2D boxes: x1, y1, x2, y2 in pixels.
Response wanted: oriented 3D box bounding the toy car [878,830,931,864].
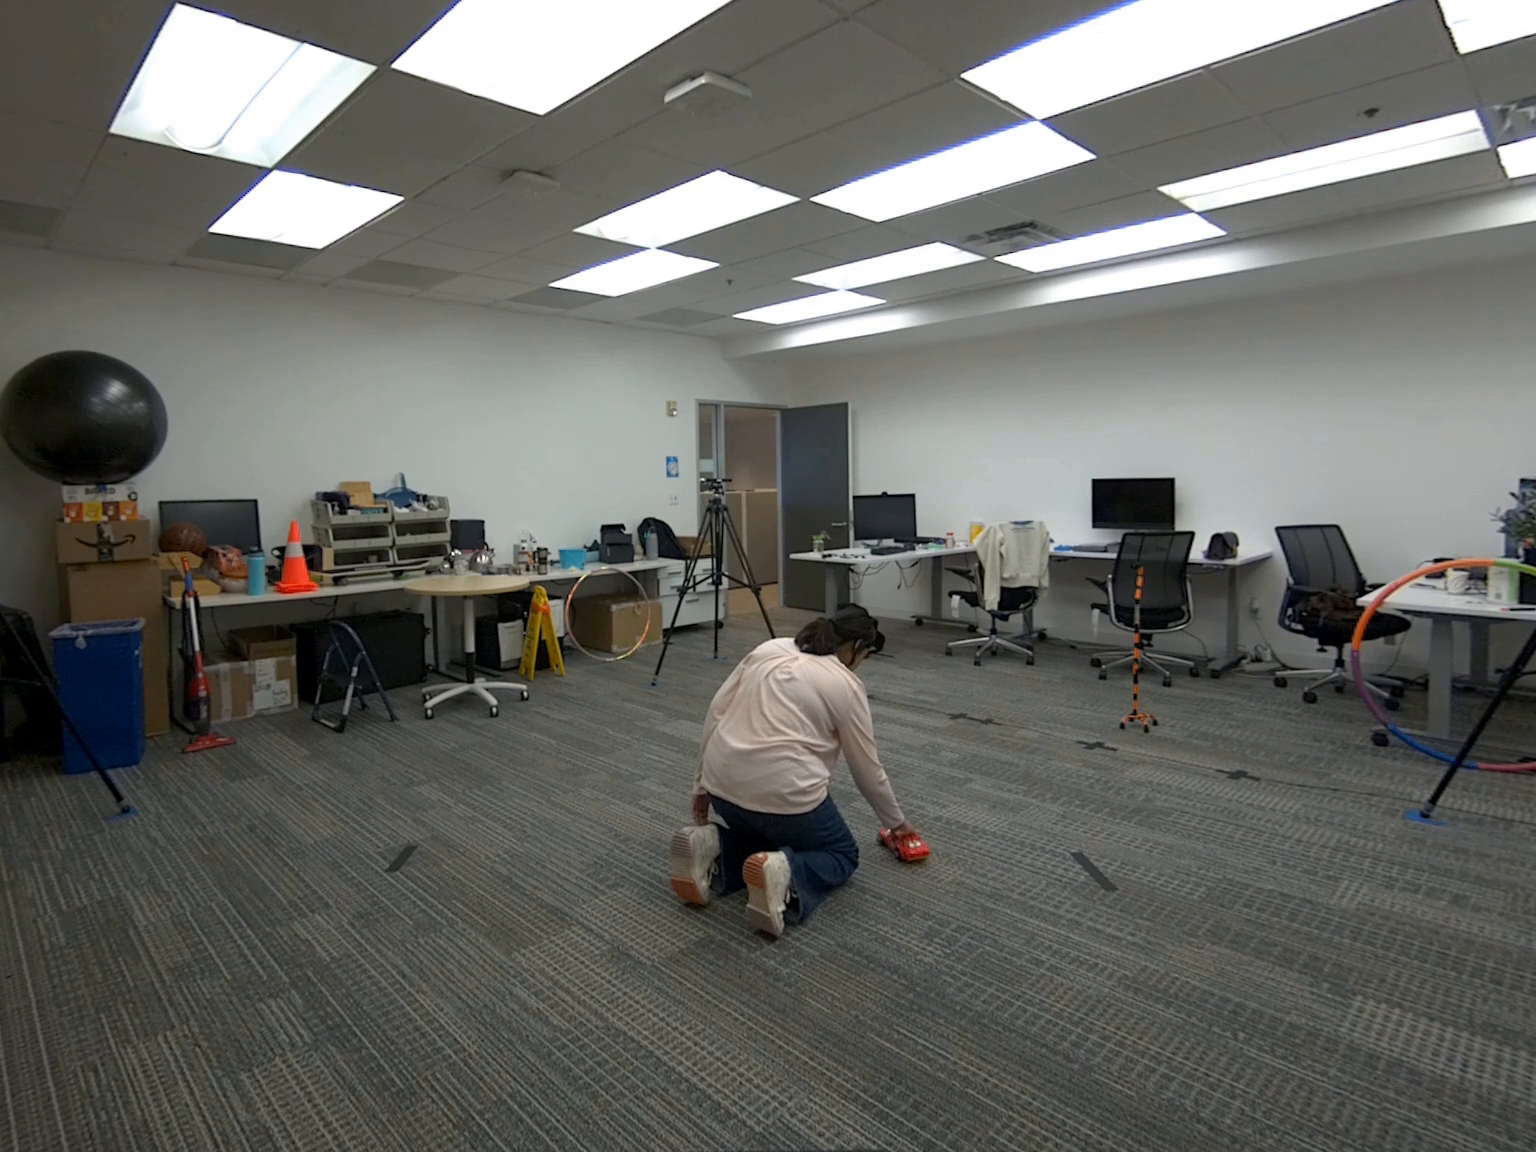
[{"bbox_3d":[0.513,0.995,3.159,0.128,0.084,0.256,-3,-5,-16],"label":"toy car"}]
